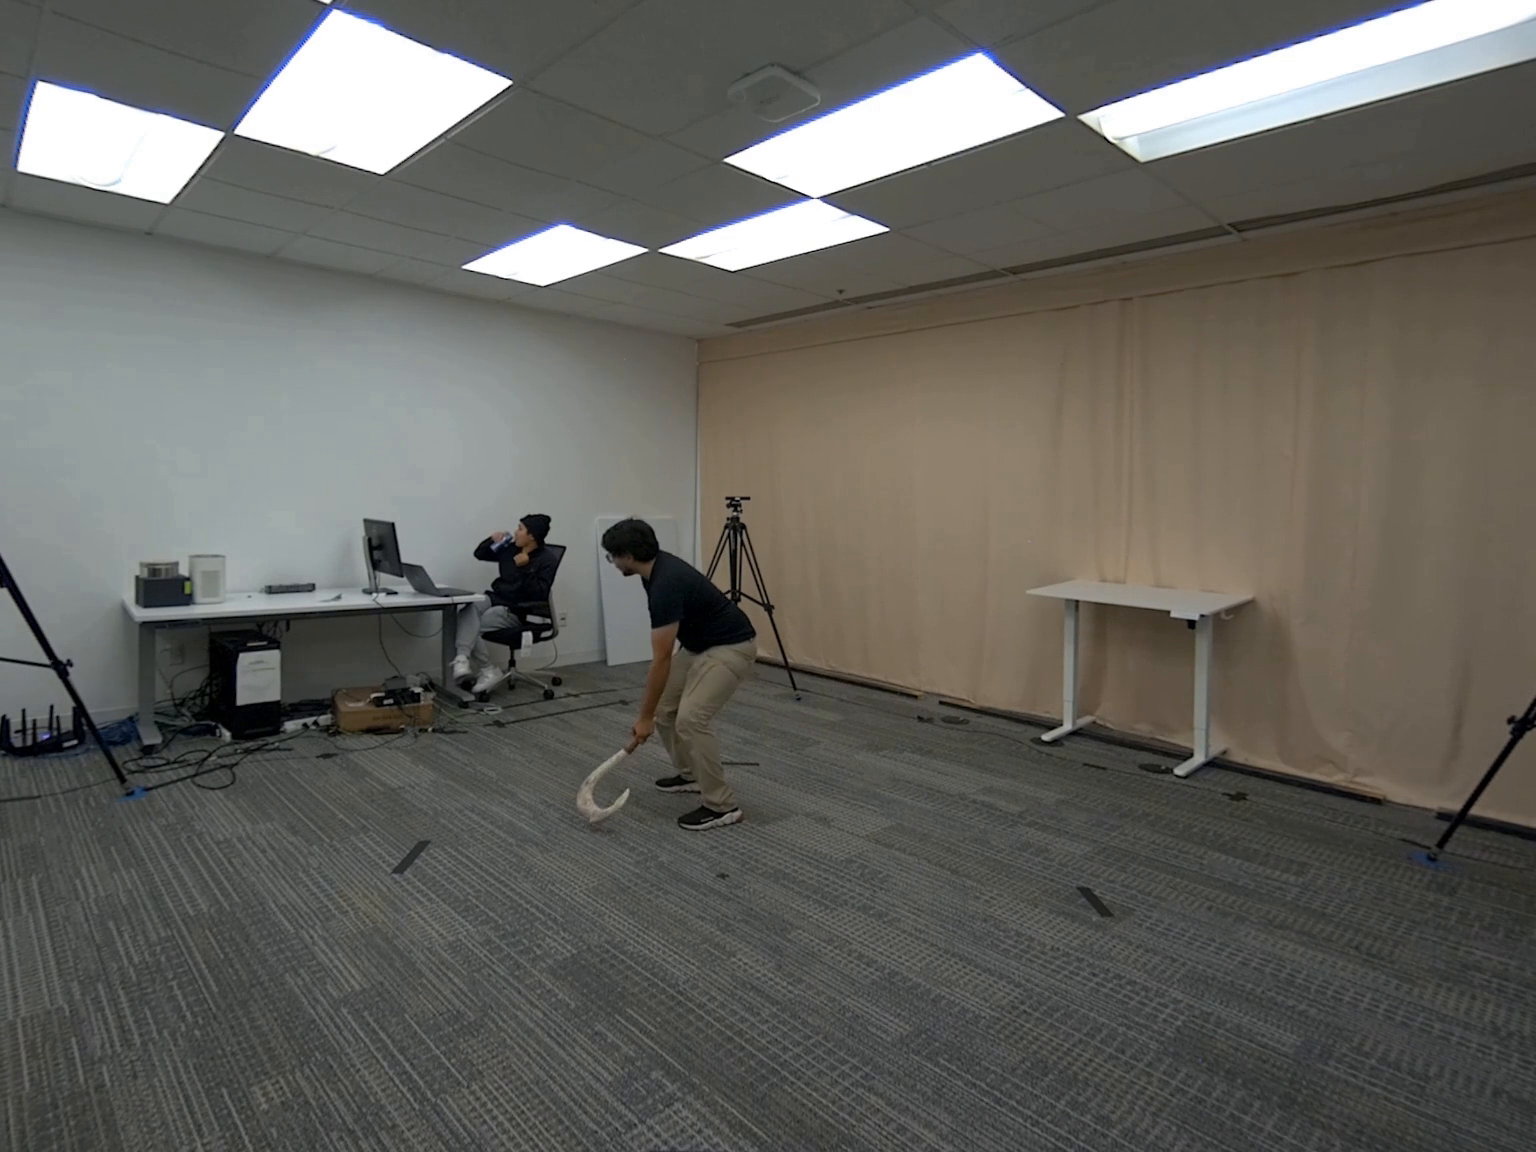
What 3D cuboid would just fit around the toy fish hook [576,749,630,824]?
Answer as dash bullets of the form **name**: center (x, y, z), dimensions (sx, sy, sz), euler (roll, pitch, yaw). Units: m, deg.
- **toy fish hook**: center (-0.619, 0.811, 3.558), dimensions (0.231, 0.507, 0.047), euler (31, -17, 34)
